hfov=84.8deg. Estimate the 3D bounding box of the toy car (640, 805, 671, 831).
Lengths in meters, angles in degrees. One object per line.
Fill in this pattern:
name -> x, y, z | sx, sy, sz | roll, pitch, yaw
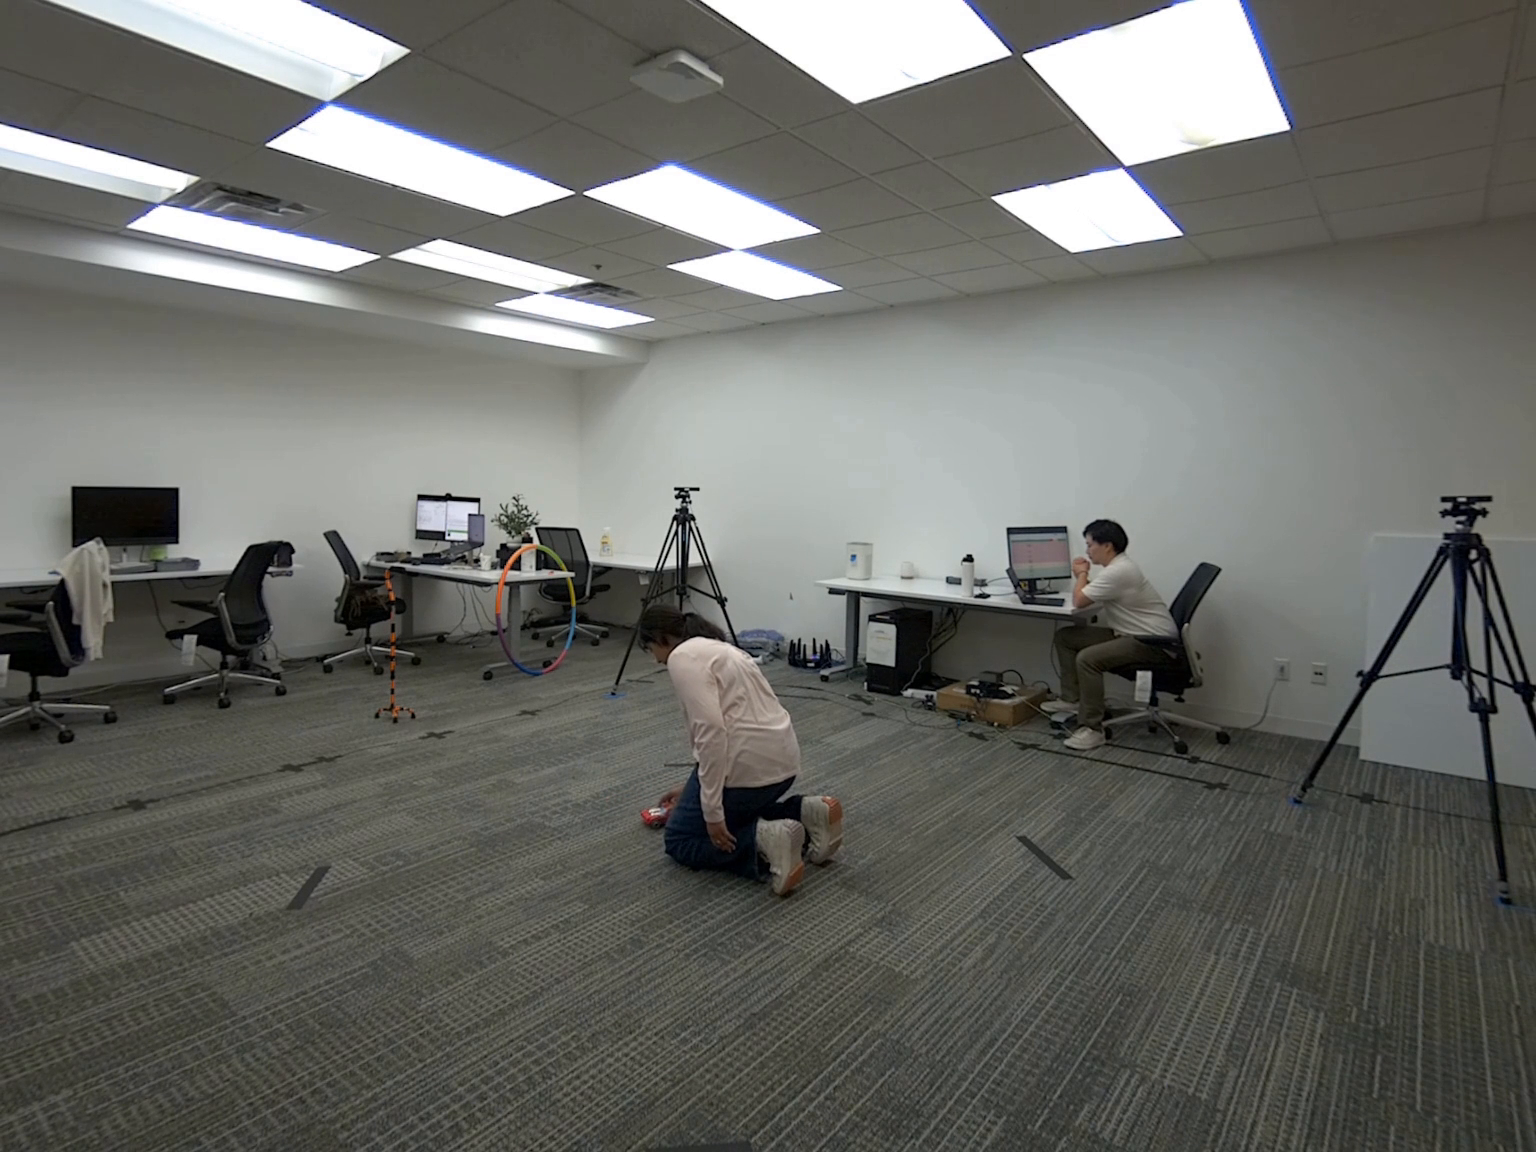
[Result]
toy car -> -0.407, 0.984, 3.550 | 0.250, 0.082, 0.134 | -14, 11, -22
